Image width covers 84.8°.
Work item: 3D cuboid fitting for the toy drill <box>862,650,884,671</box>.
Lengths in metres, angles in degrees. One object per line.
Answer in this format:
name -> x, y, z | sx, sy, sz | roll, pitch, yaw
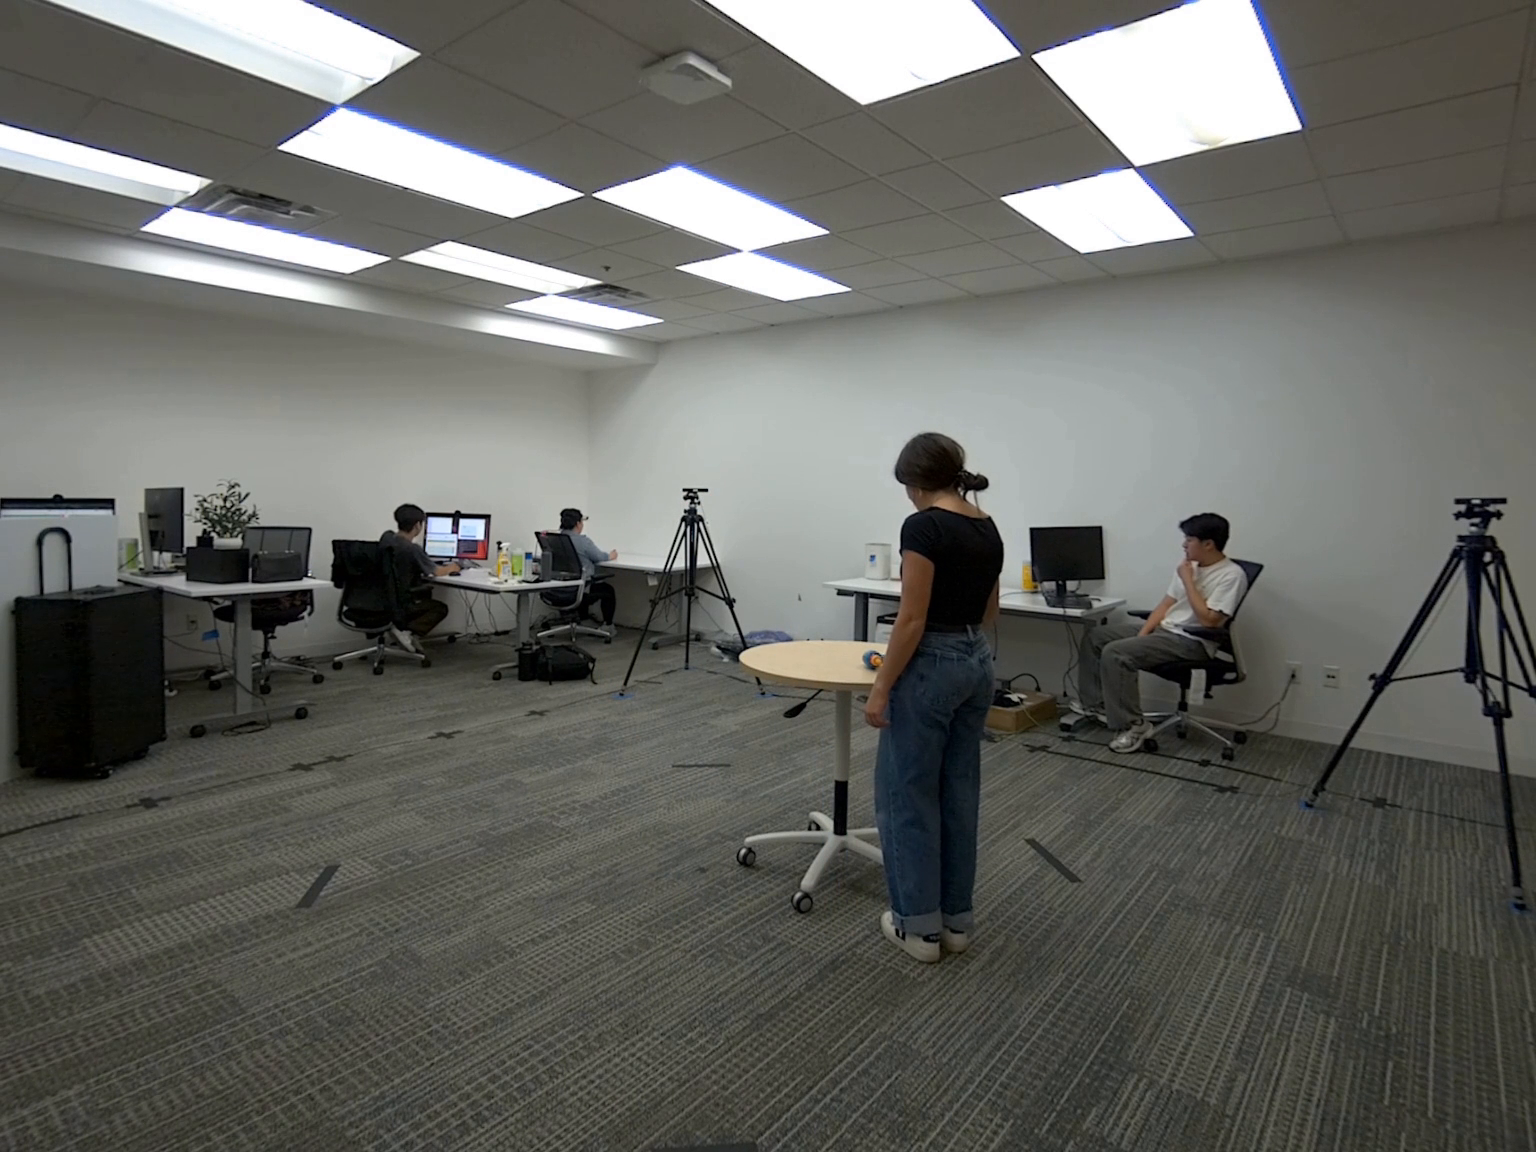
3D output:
toy drill -> 0.412, 0.281, 2.925 | 0.145, 0.061, 0.171 | 2, -1, -7
